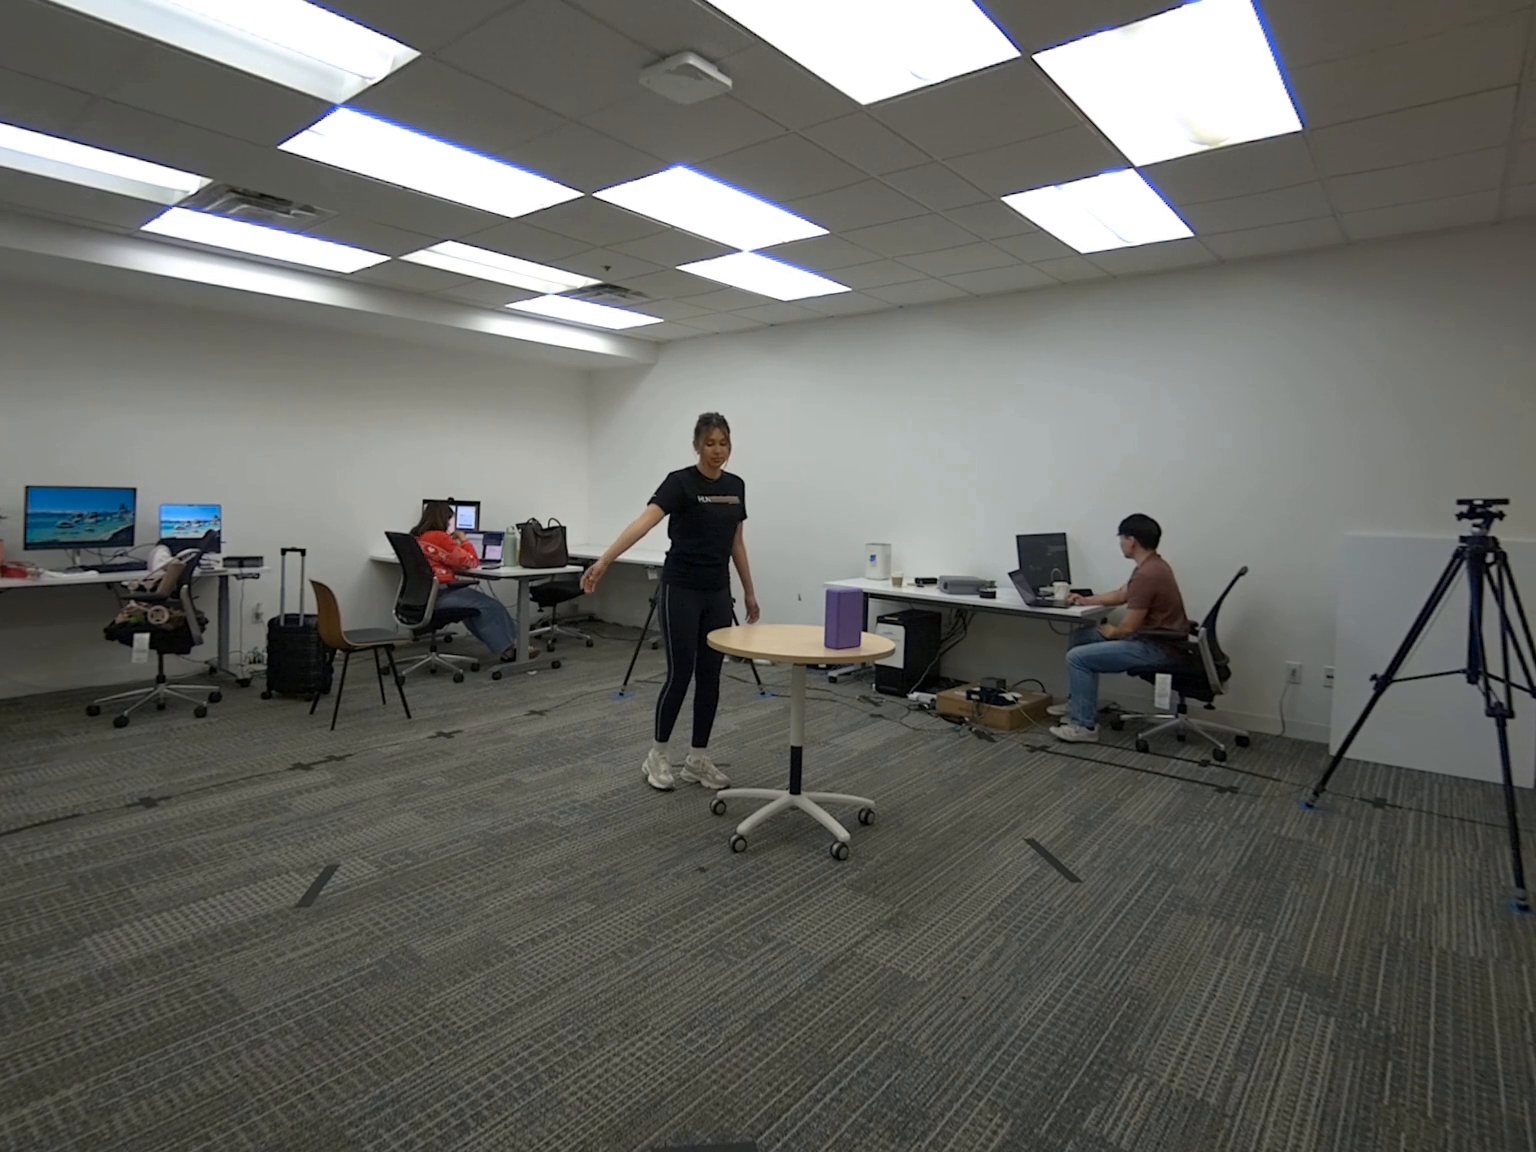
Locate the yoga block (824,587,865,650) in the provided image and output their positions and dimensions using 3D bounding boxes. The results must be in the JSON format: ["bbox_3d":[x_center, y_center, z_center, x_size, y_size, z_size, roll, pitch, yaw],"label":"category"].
[{"bbox_3d":[0.290,0.160,3.333,0.144,0.229,0.079,-1,3,-41],"label":"yoga block"}]
